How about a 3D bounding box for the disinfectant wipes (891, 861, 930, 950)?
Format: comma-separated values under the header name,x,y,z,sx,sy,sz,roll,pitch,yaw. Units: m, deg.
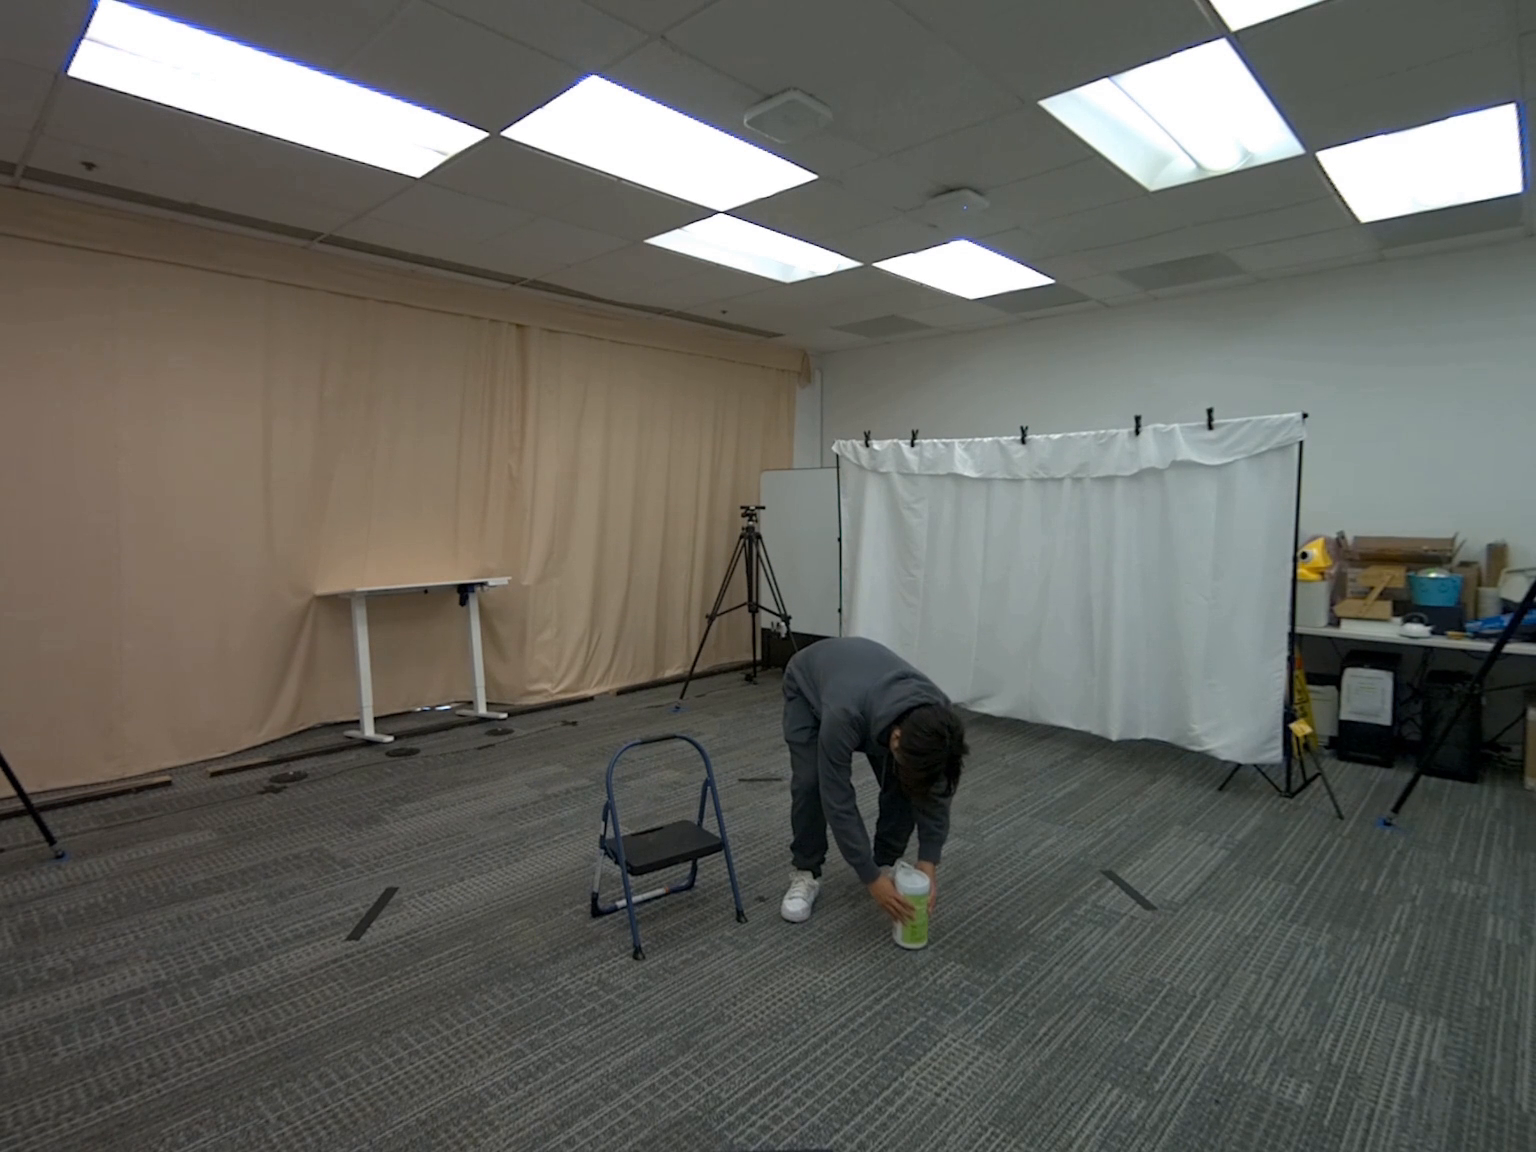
name,x,y,z,sx,sy,sz,roll,pitch,yaw
disinfectant wipes,0.452,1.046,2.662,0.117,0.216,0.119,1,10,-2
